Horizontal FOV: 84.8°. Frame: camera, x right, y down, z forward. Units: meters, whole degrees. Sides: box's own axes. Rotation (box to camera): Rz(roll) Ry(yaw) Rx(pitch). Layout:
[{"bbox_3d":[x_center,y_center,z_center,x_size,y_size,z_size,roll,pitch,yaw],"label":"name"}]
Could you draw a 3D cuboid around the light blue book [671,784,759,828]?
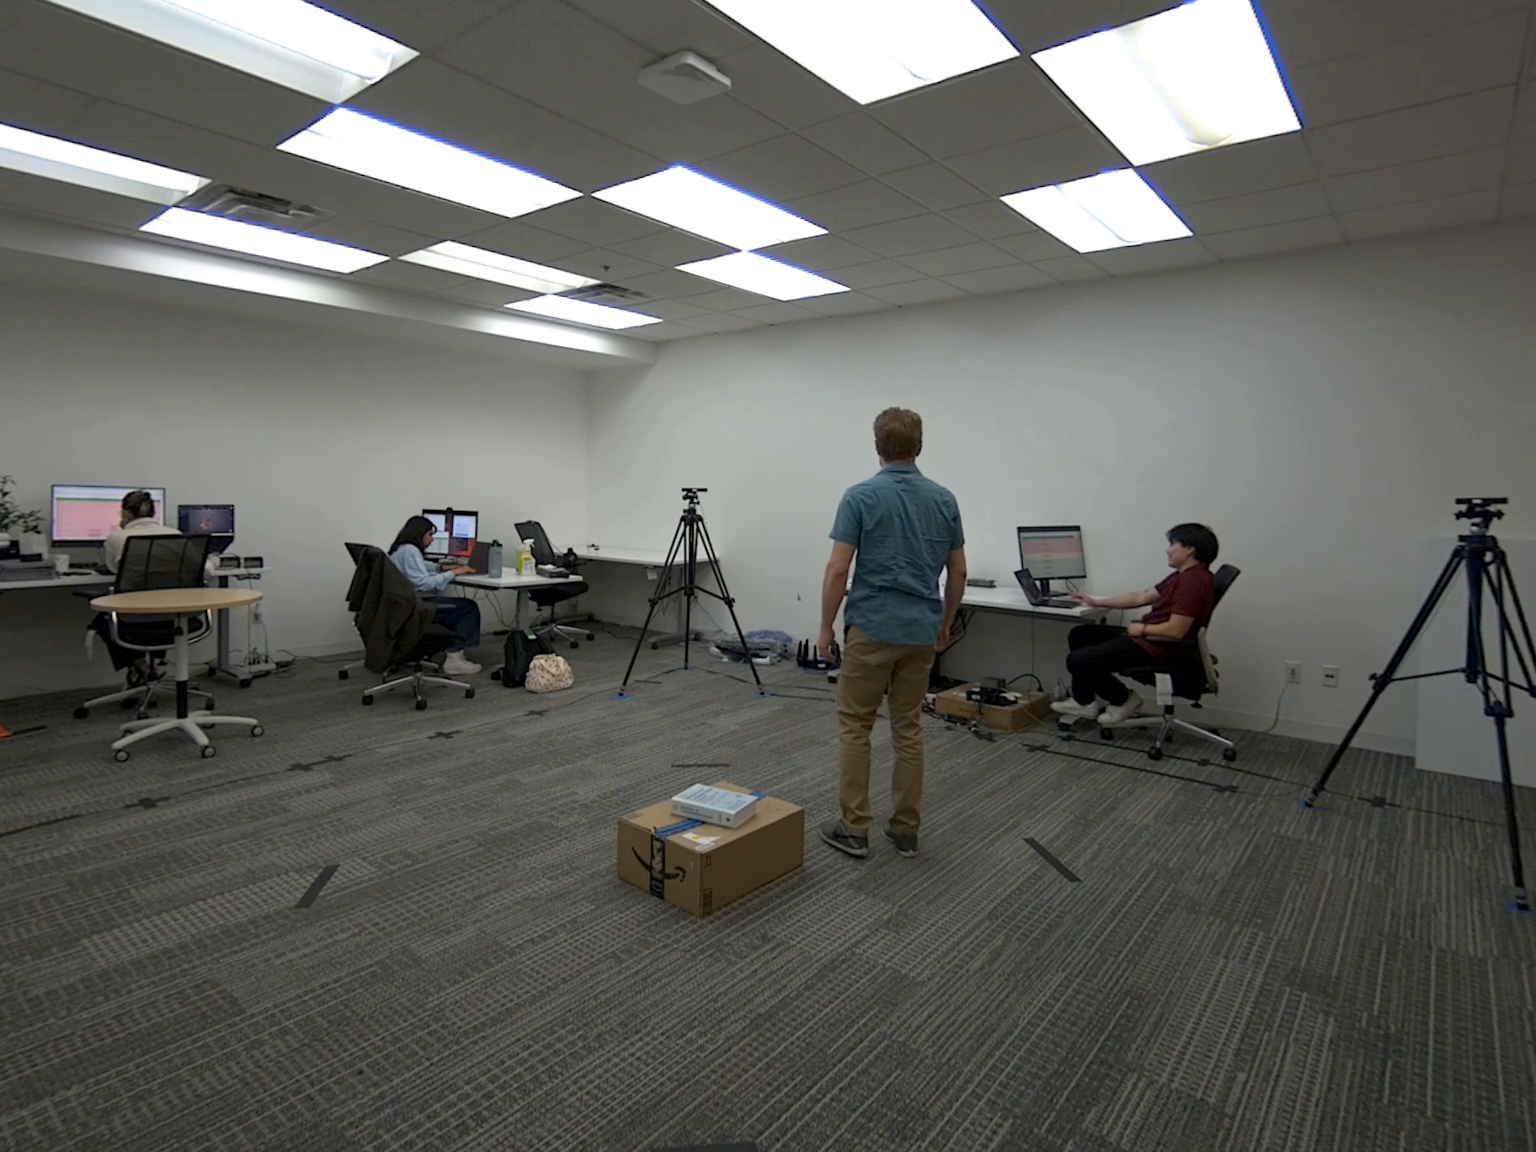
[{"bbox_3d":[-0.205,0.829,3.099,0.268,0.059,0.187,4,6,27],"label":"light blue book"}]
